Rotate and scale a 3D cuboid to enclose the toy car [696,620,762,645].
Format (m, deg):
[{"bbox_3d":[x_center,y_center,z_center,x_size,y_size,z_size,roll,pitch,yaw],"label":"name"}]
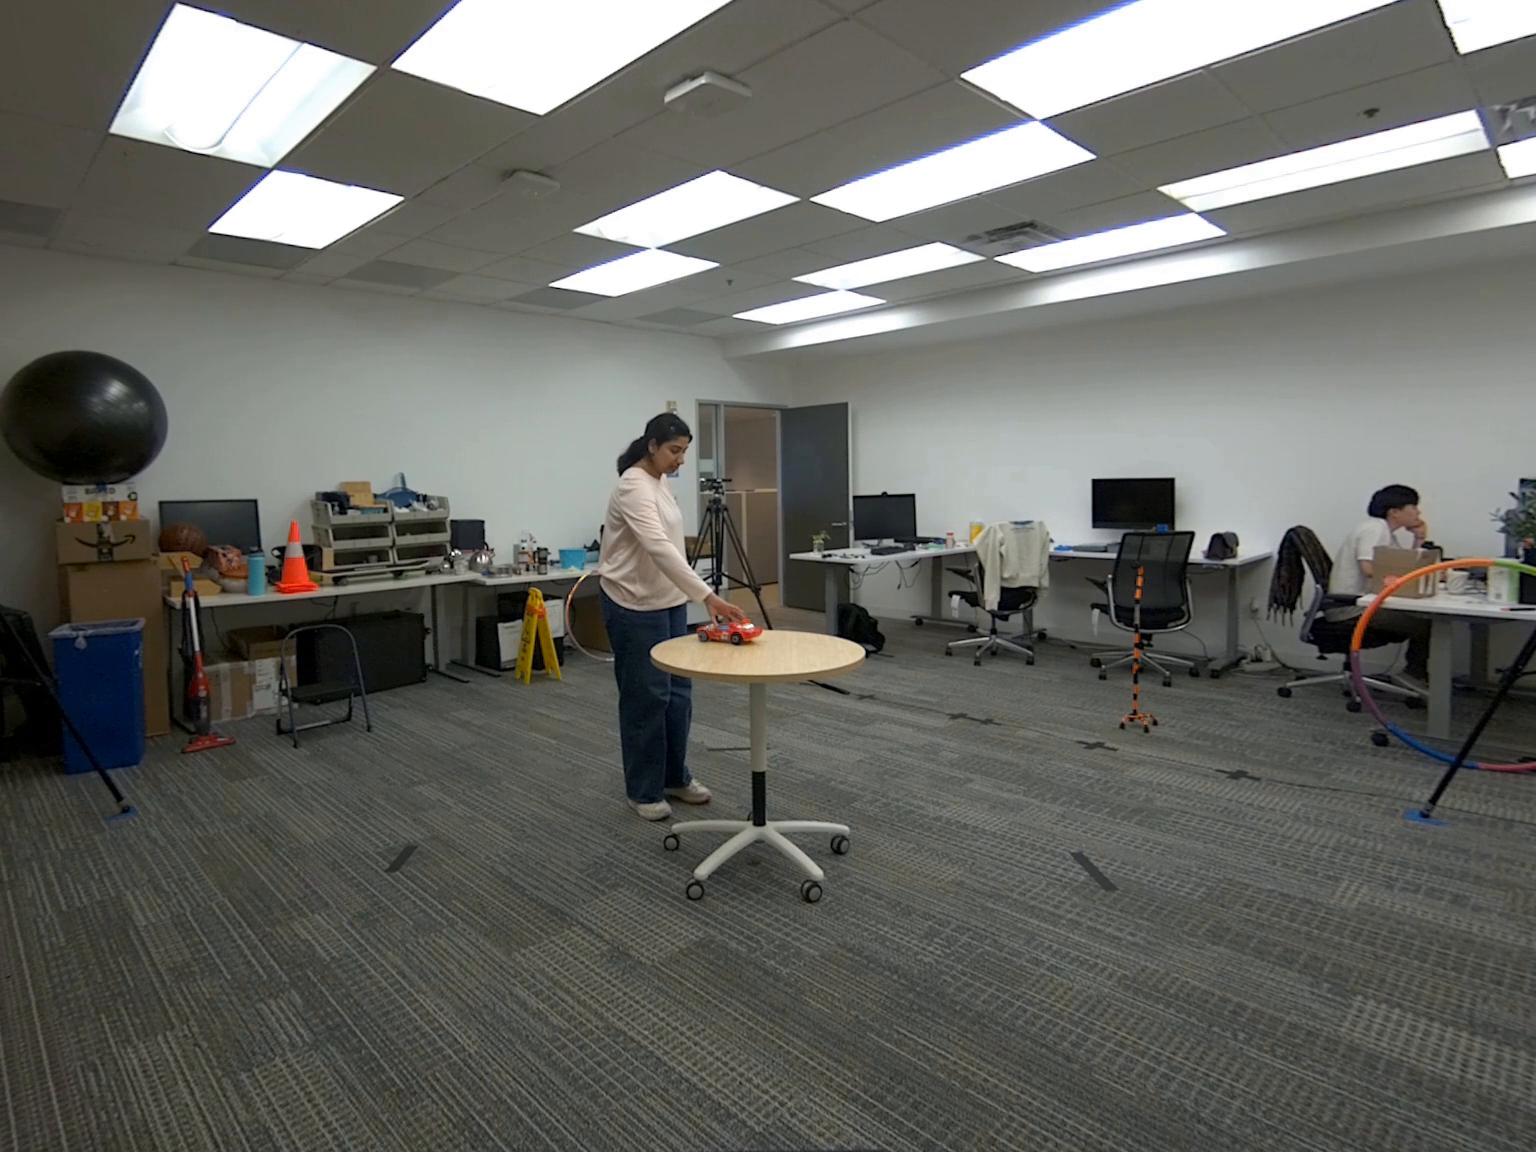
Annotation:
[{"bbox_3d":[-0.130,0.218,3.211,0.260,0.083,0.127,-9,1,28],"label":"toy car"}]
